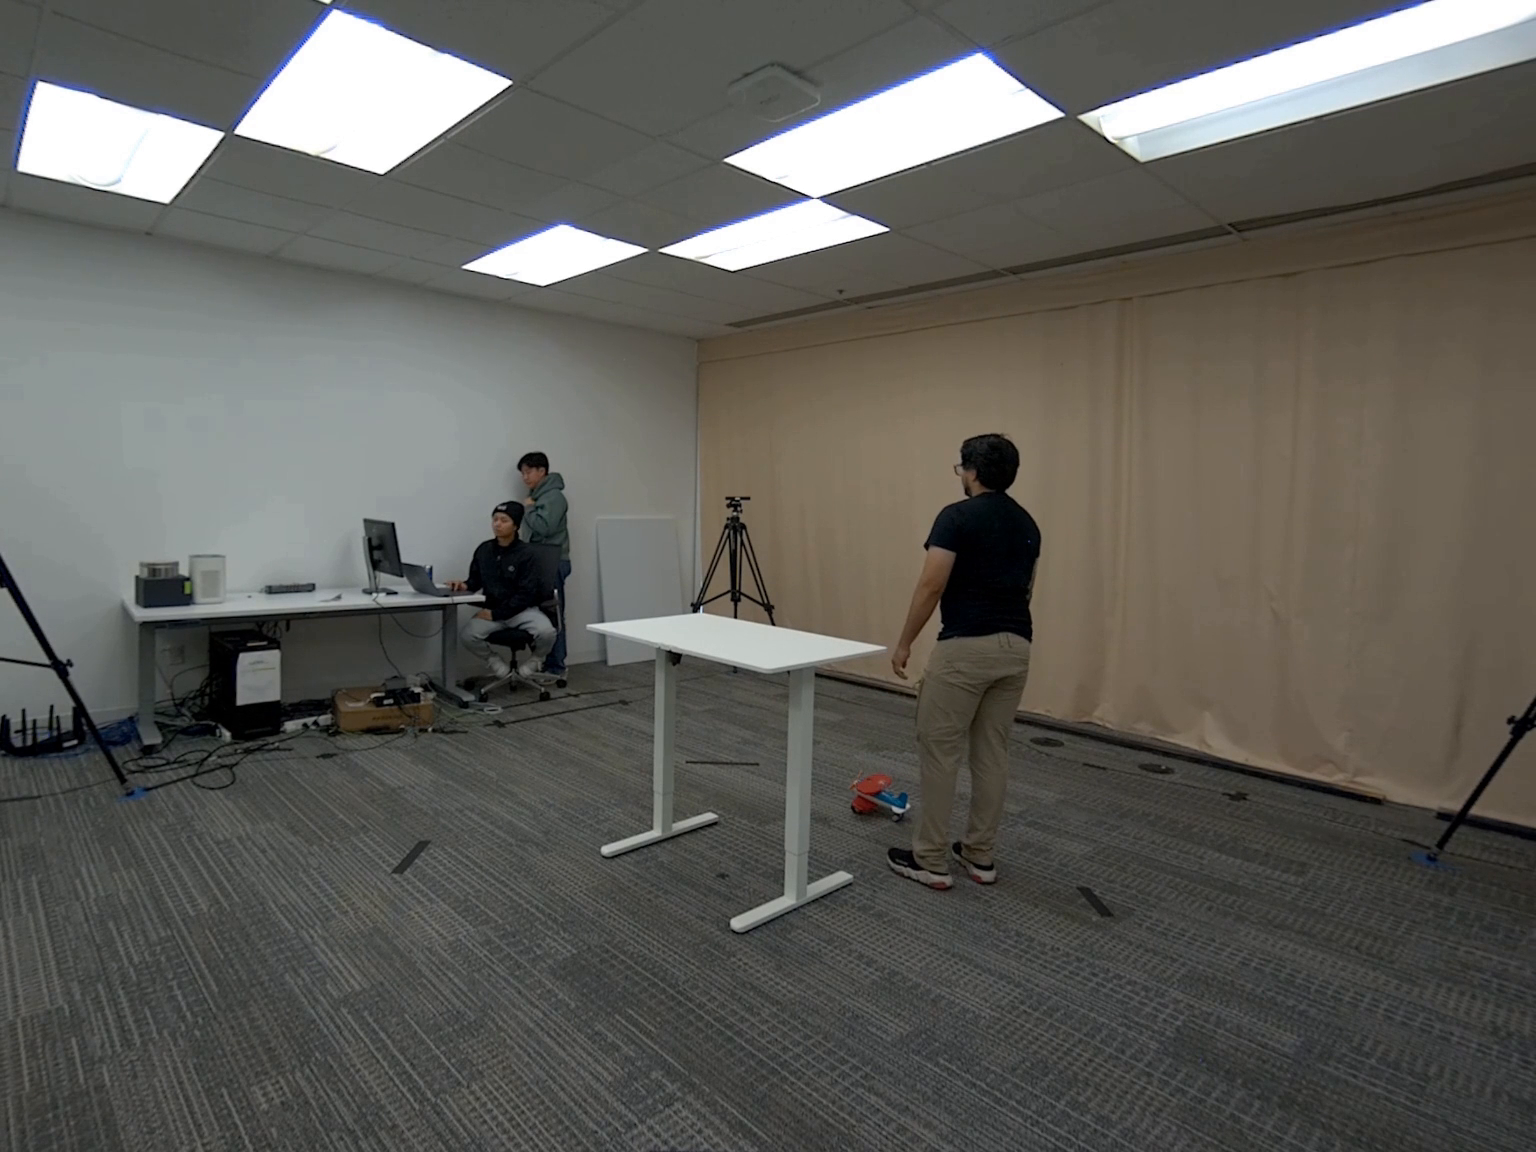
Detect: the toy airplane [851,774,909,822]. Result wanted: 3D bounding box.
[{"bbox_3d":[0.496,0.988,3.769,0.261,0.156,0.250,0,4,8],"label":"toy airplane"}]
